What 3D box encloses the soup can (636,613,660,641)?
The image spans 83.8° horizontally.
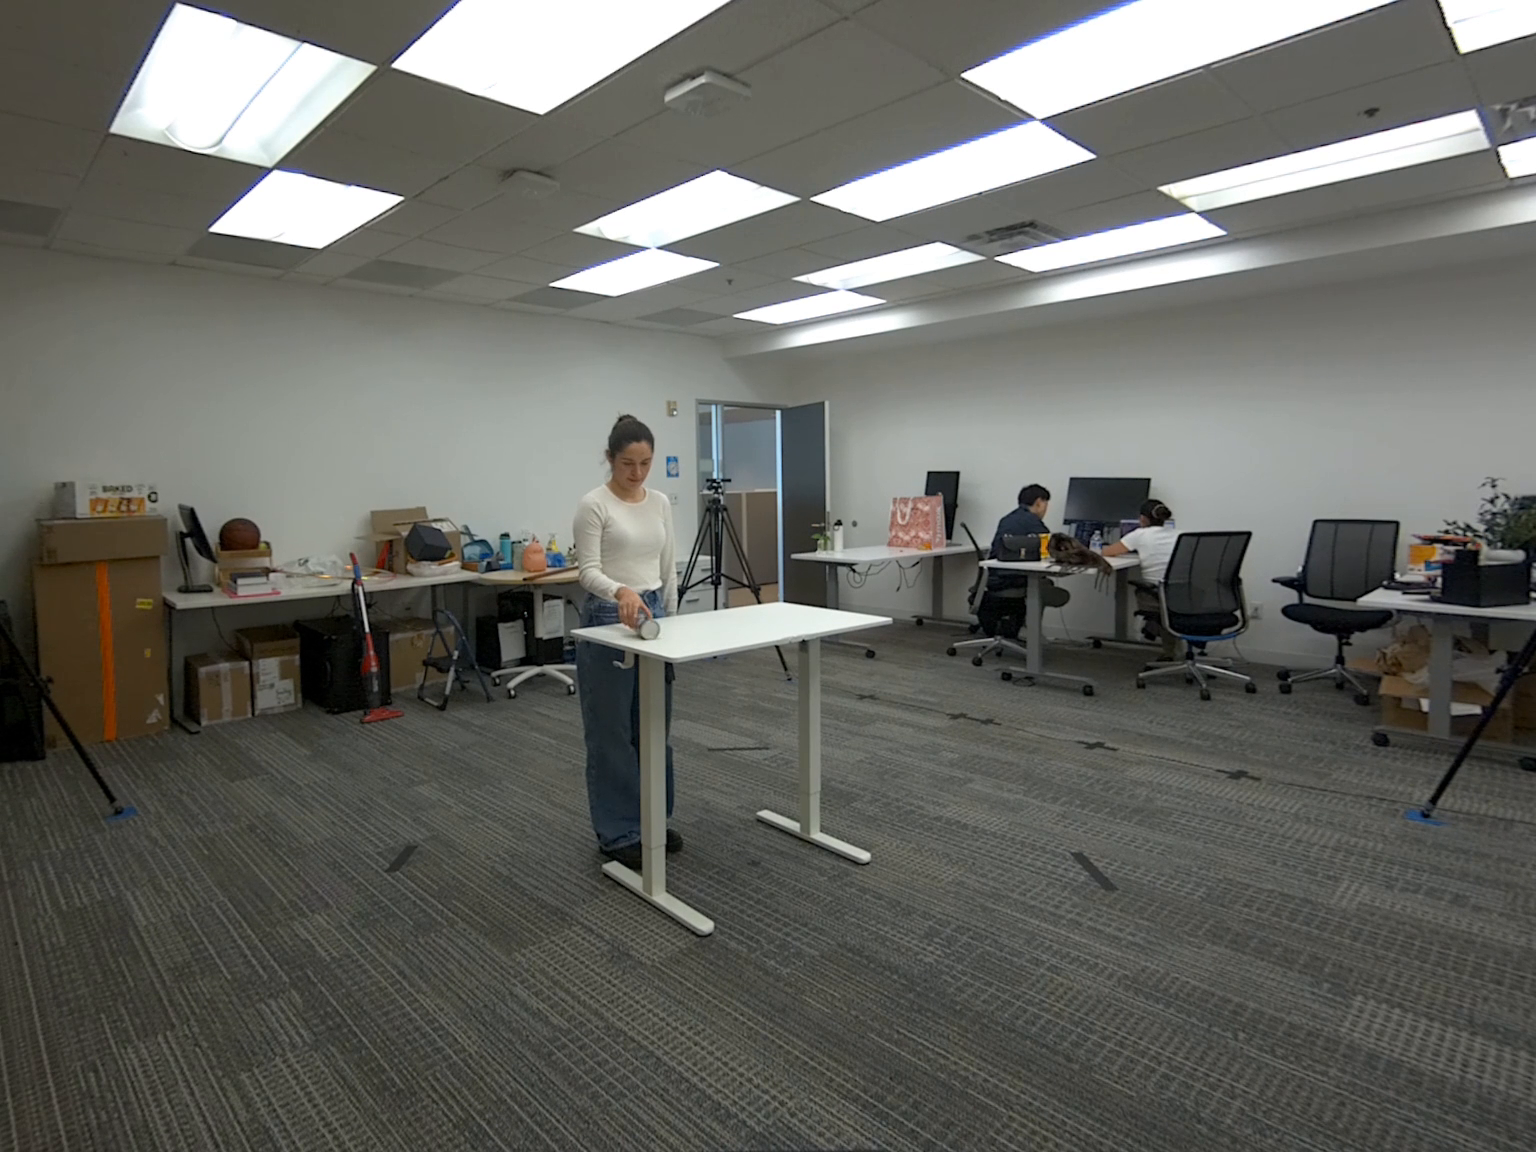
[{"bbox_3d":[-0.396,0.171,2.795,0.067,0.067,0.122,-1,4,-5],"label":"soup can"}]
